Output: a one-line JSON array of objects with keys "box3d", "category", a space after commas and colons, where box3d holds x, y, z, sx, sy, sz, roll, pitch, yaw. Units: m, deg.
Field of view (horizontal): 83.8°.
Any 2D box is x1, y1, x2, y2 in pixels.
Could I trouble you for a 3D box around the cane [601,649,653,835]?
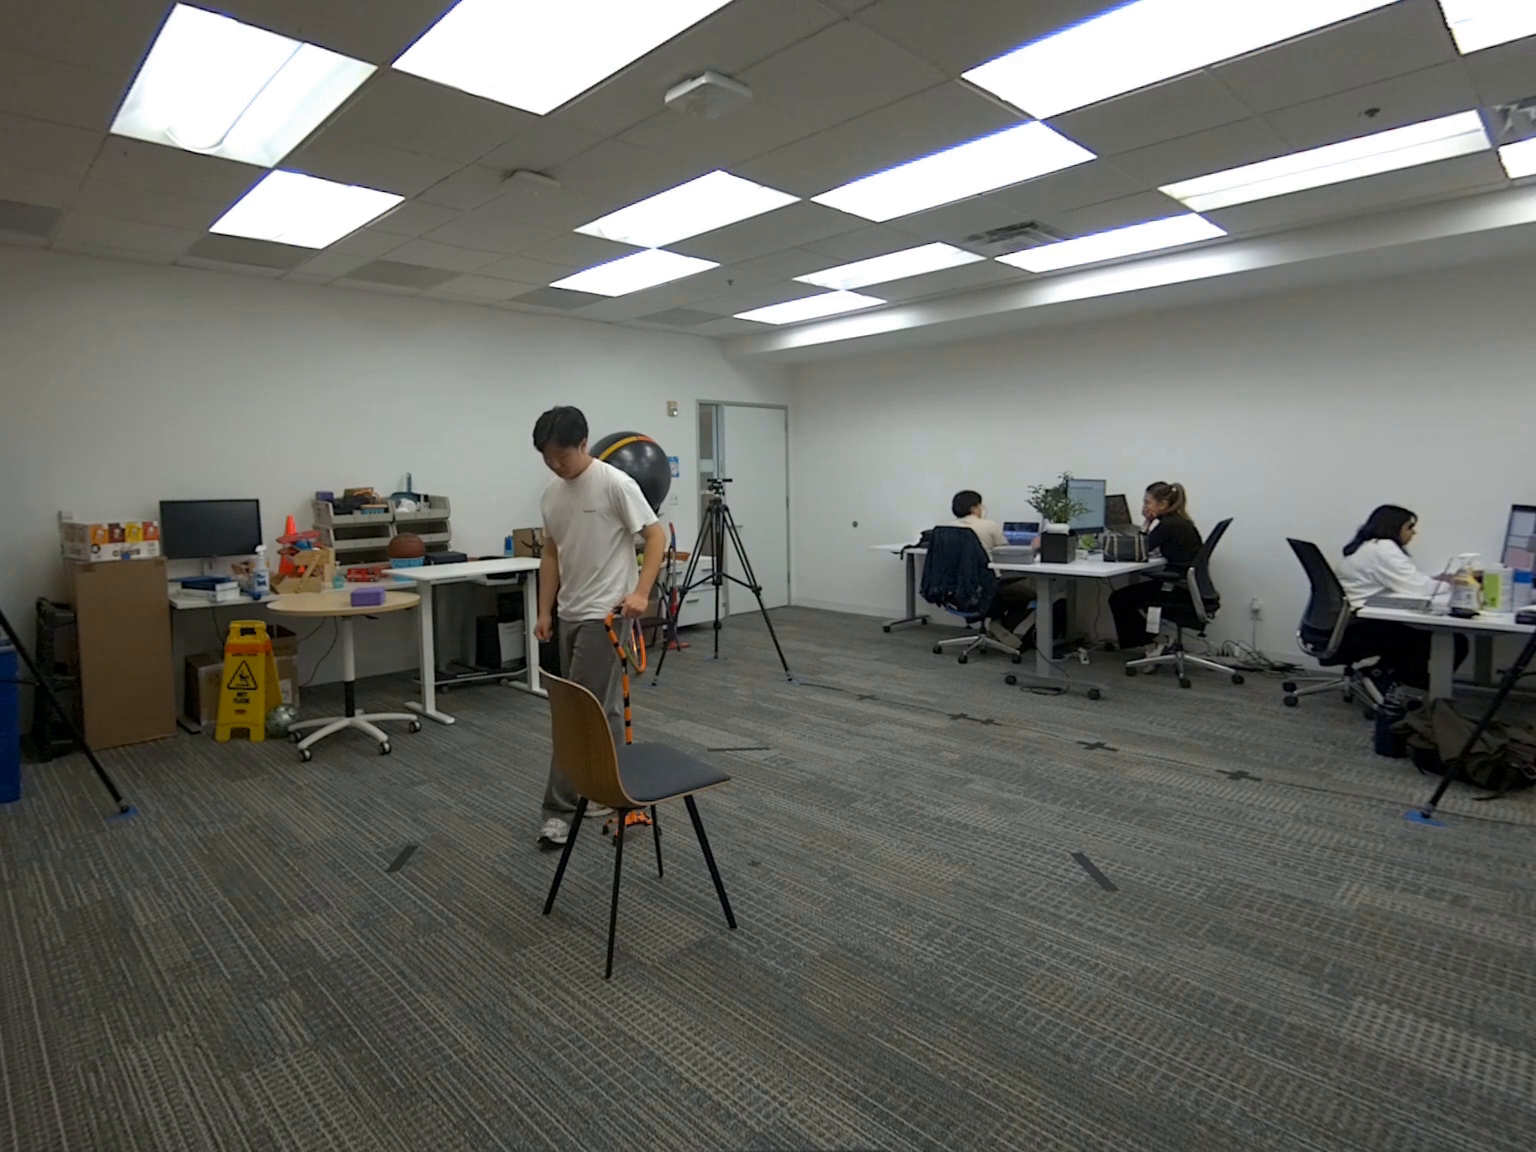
[{"box3d": [-0.550, 0.563, 3.340, 0.202, 0.903, 0.156, -5, 6, -31], "category": "cane"}]
